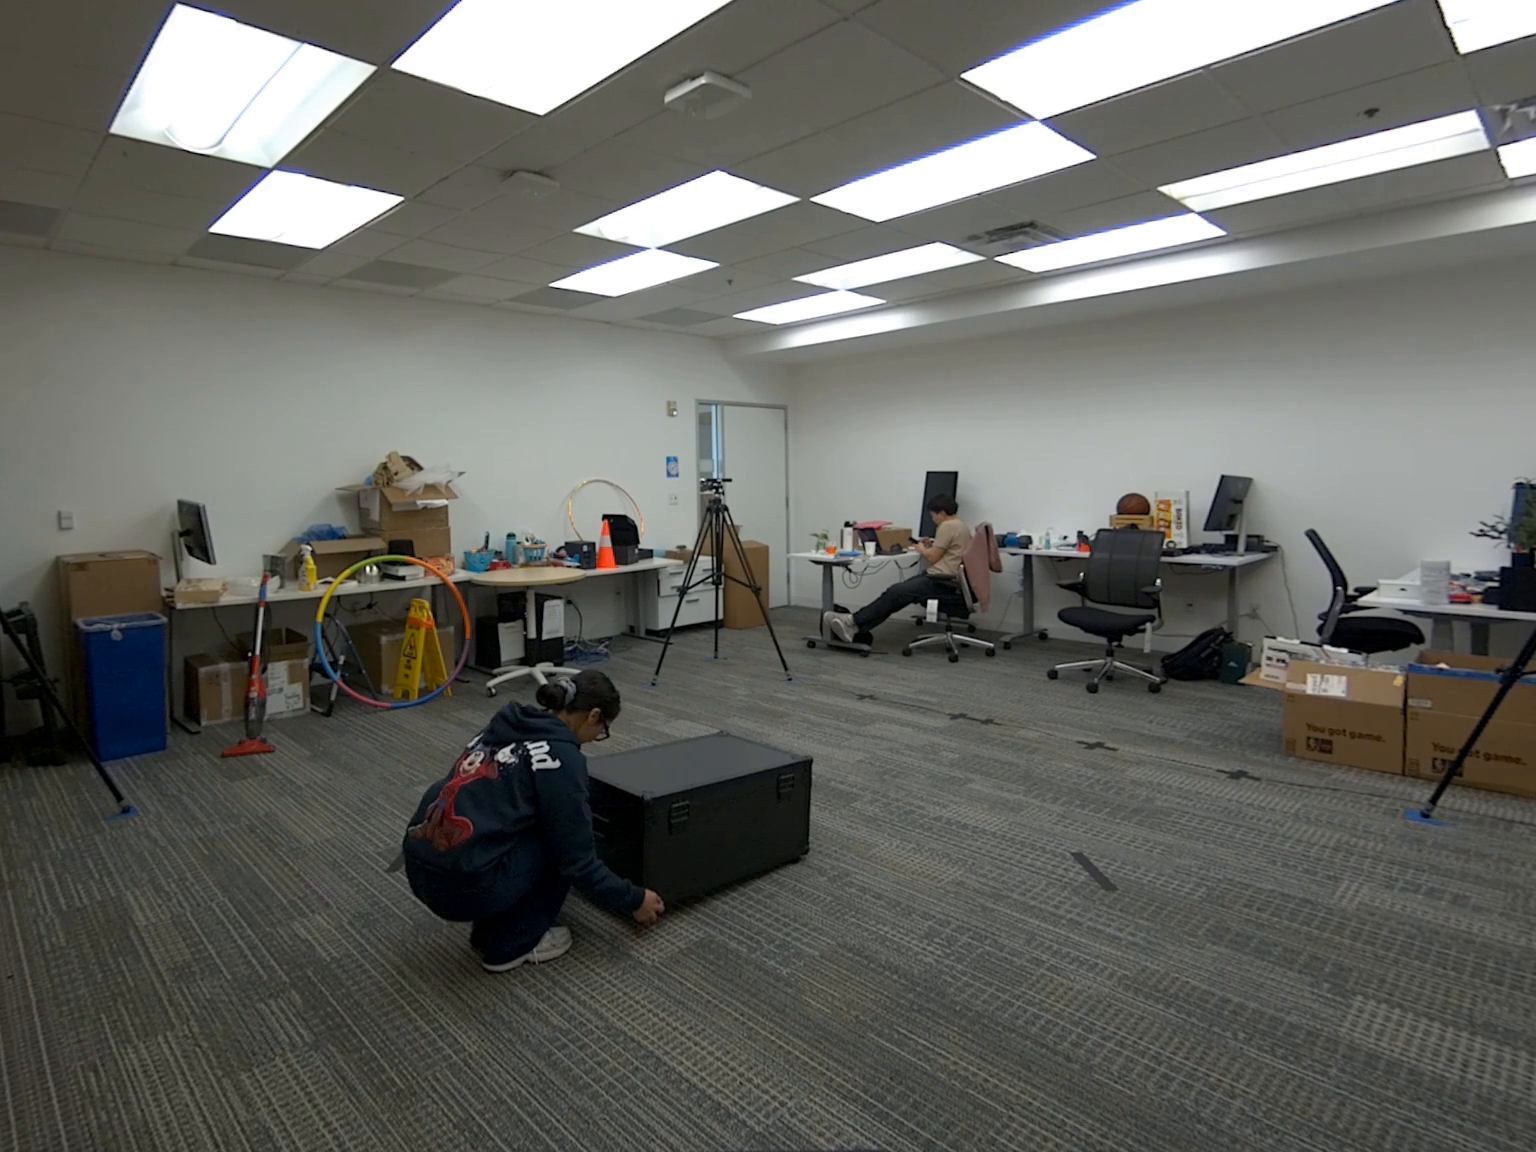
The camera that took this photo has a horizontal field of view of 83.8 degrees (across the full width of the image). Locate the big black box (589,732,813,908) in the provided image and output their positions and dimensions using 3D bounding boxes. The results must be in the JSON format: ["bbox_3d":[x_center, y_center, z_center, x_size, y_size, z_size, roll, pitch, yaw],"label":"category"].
[{"bbox_3d":[-0.251,0.838,3.067,0.537,0.395,0.837,5,6,45],"label":"big black box"}]
